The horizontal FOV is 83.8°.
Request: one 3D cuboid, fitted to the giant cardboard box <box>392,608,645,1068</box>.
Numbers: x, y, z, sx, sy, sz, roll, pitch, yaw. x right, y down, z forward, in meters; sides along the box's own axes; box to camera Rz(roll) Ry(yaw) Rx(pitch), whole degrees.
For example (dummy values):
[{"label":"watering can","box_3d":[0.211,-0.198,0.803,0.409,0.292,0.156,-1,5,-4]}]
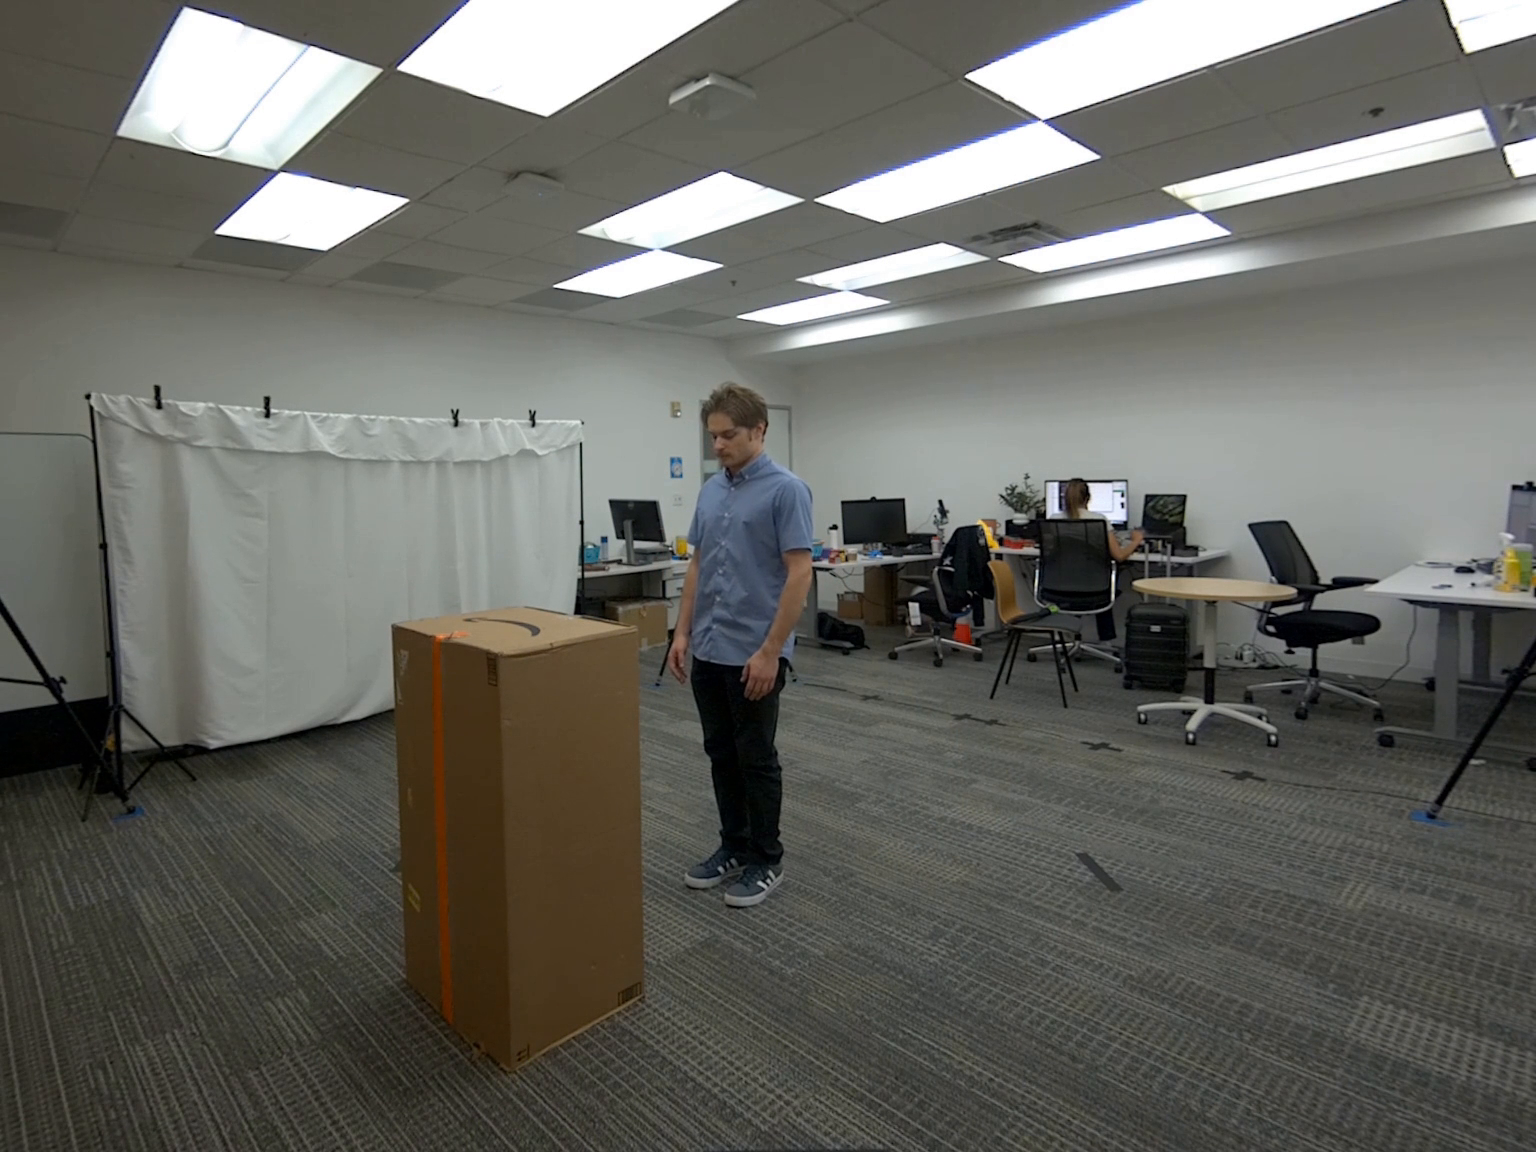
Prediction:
[{"label":"giant cardboard box","box_3d":[-0.686,0.641,2.341,0.595,1.022,0.415,3,6,44]}]
